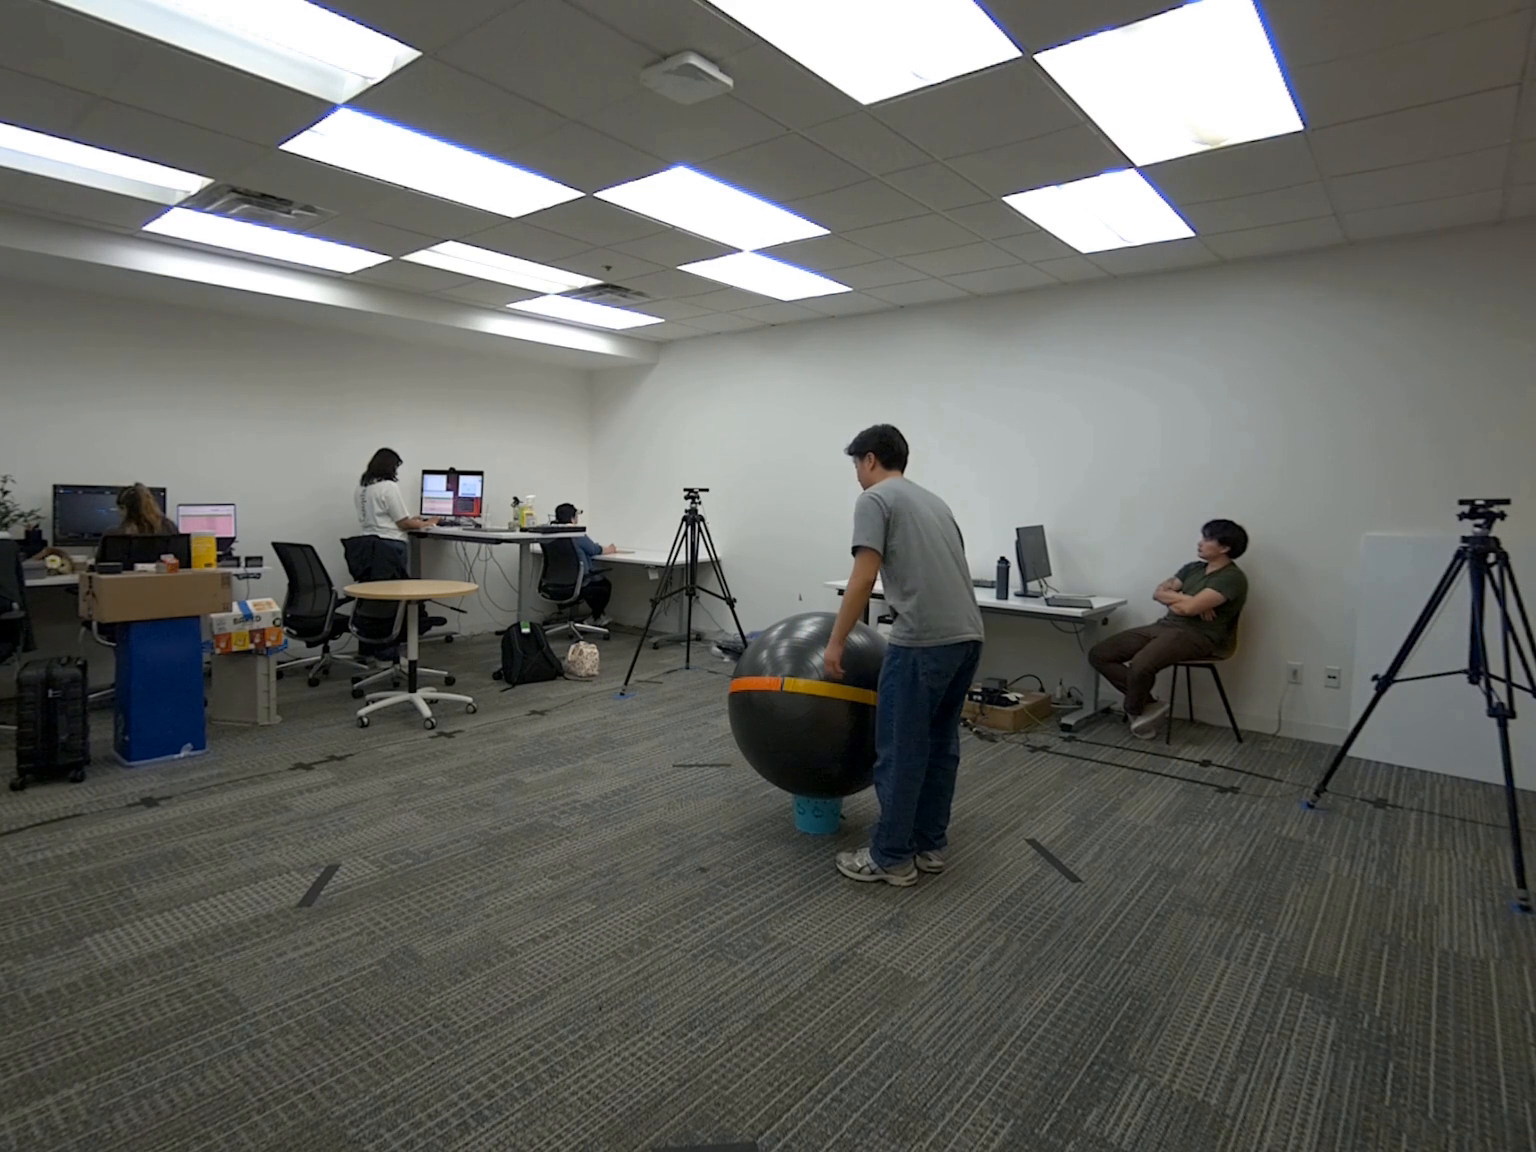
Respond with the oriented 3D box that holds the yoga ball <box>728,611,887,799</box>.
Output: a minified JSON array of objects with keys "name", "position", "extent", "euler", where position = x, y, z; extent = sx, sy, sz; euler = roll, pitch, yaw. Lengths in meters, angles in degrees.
[{"name":"yoga ball","position":[0.201,0.528,3.529],"extent":[0.757,0.755,0.762],"euler":[1,4,-2]}]
